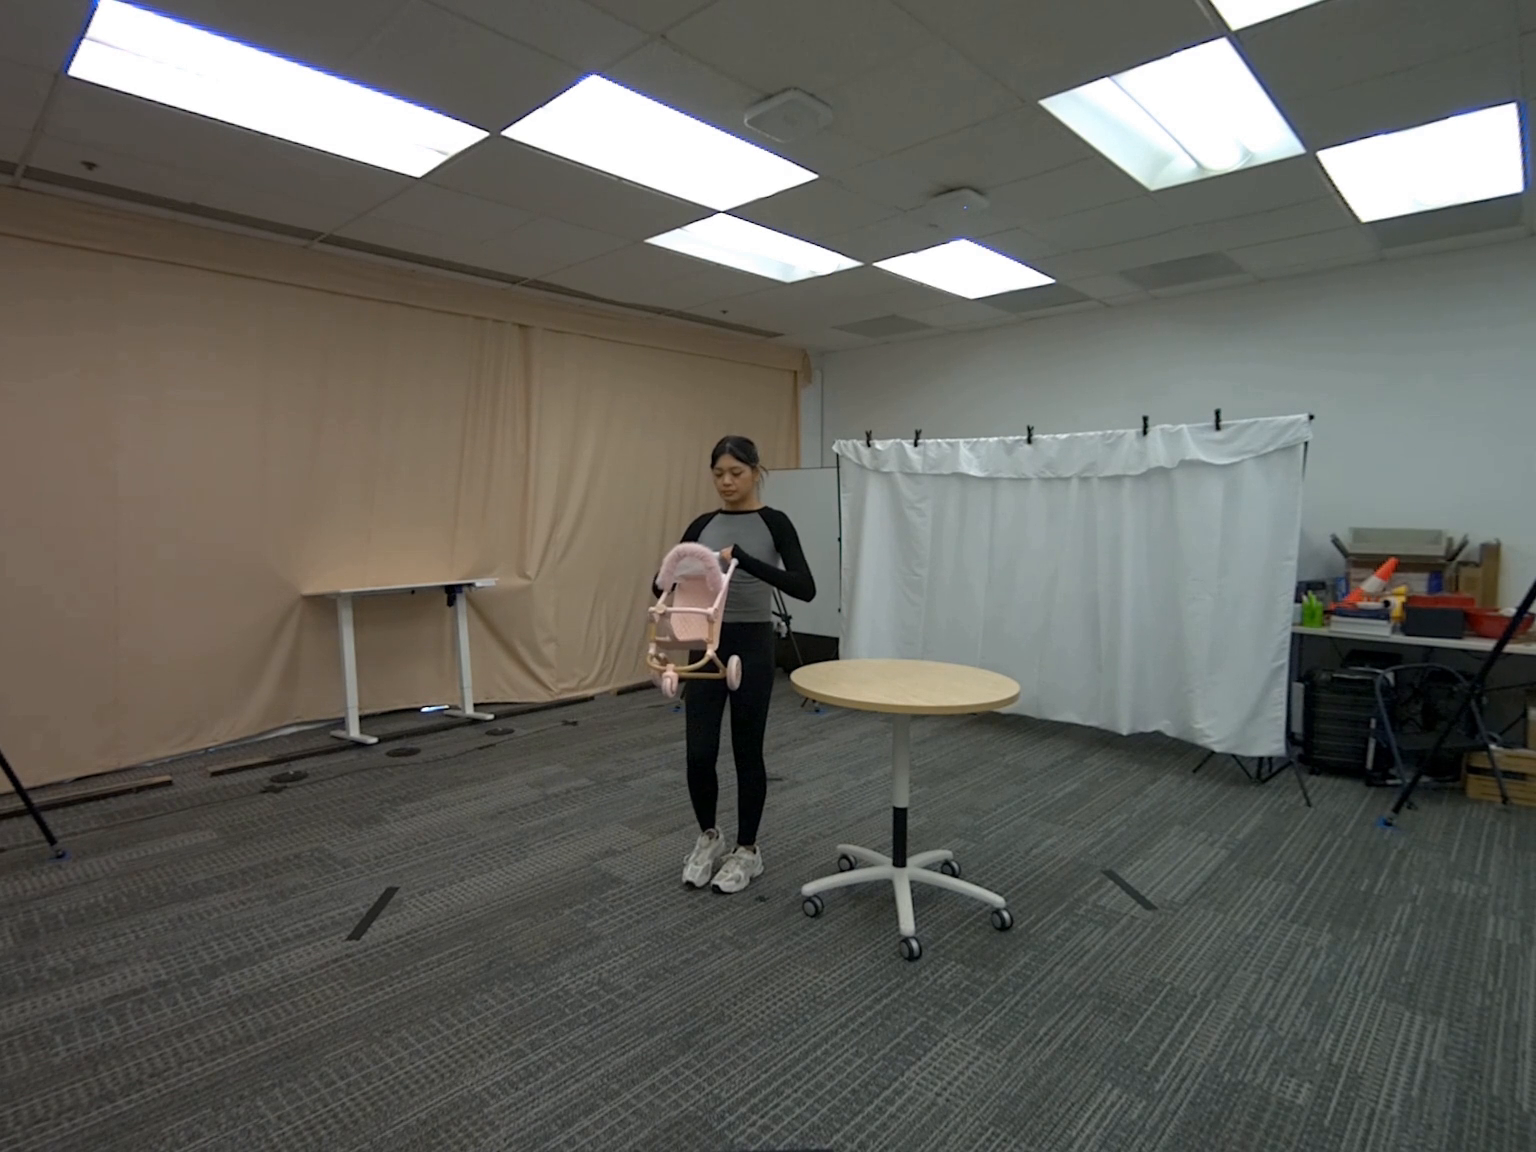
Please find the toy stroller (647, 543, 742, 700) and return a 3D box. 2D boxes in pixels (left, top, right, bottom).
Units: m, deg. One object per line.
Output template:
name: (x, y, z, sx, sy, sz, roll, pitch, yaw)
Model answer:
toy stroller: (-0.246, 0.137, 2.652, 0.287, 0.539, 0.332, -2, -15, 19)
